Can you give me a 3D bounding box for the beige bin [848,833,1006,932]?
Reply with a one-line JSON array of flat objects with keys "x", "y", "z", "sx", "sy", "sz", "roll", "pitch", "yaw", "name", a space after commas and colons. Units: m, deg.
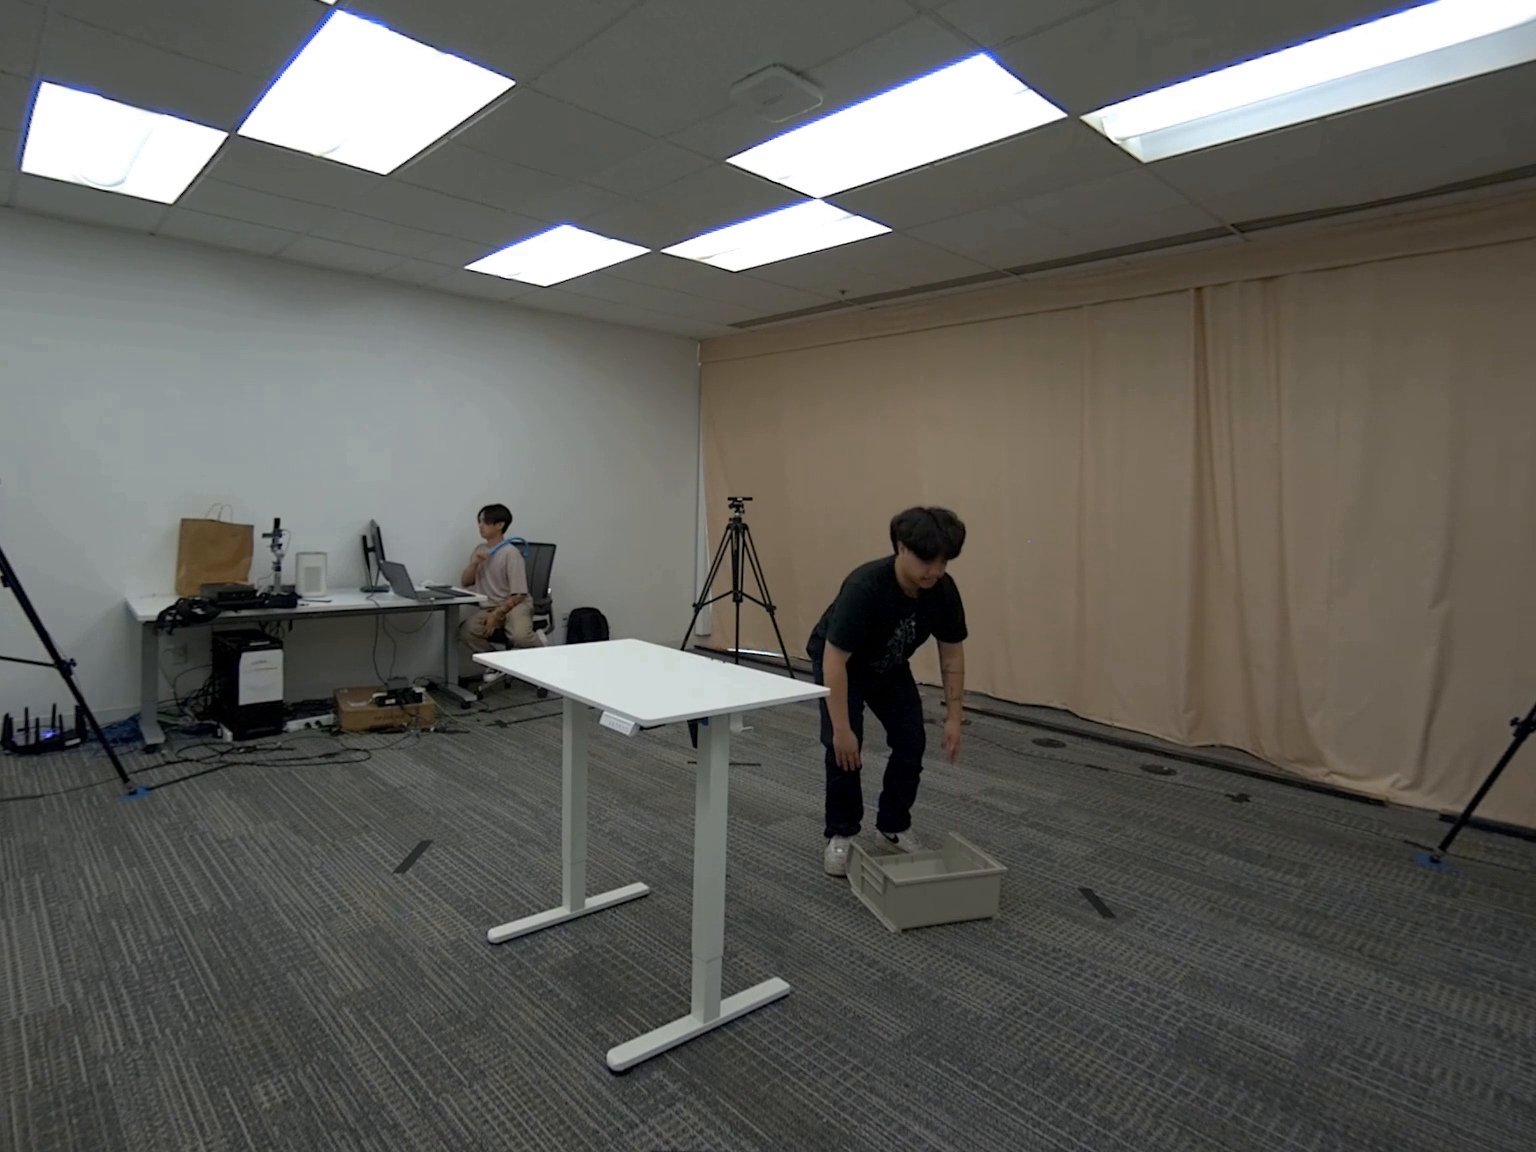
[{"x": 0.529, "y": 1.053, "z": 2.942, "sx": 0.416, "sy": 0.188, "sz": 0.384, "roll": 1, "pitch": 6, "yaw": -19, "name": "beige bin"}]
